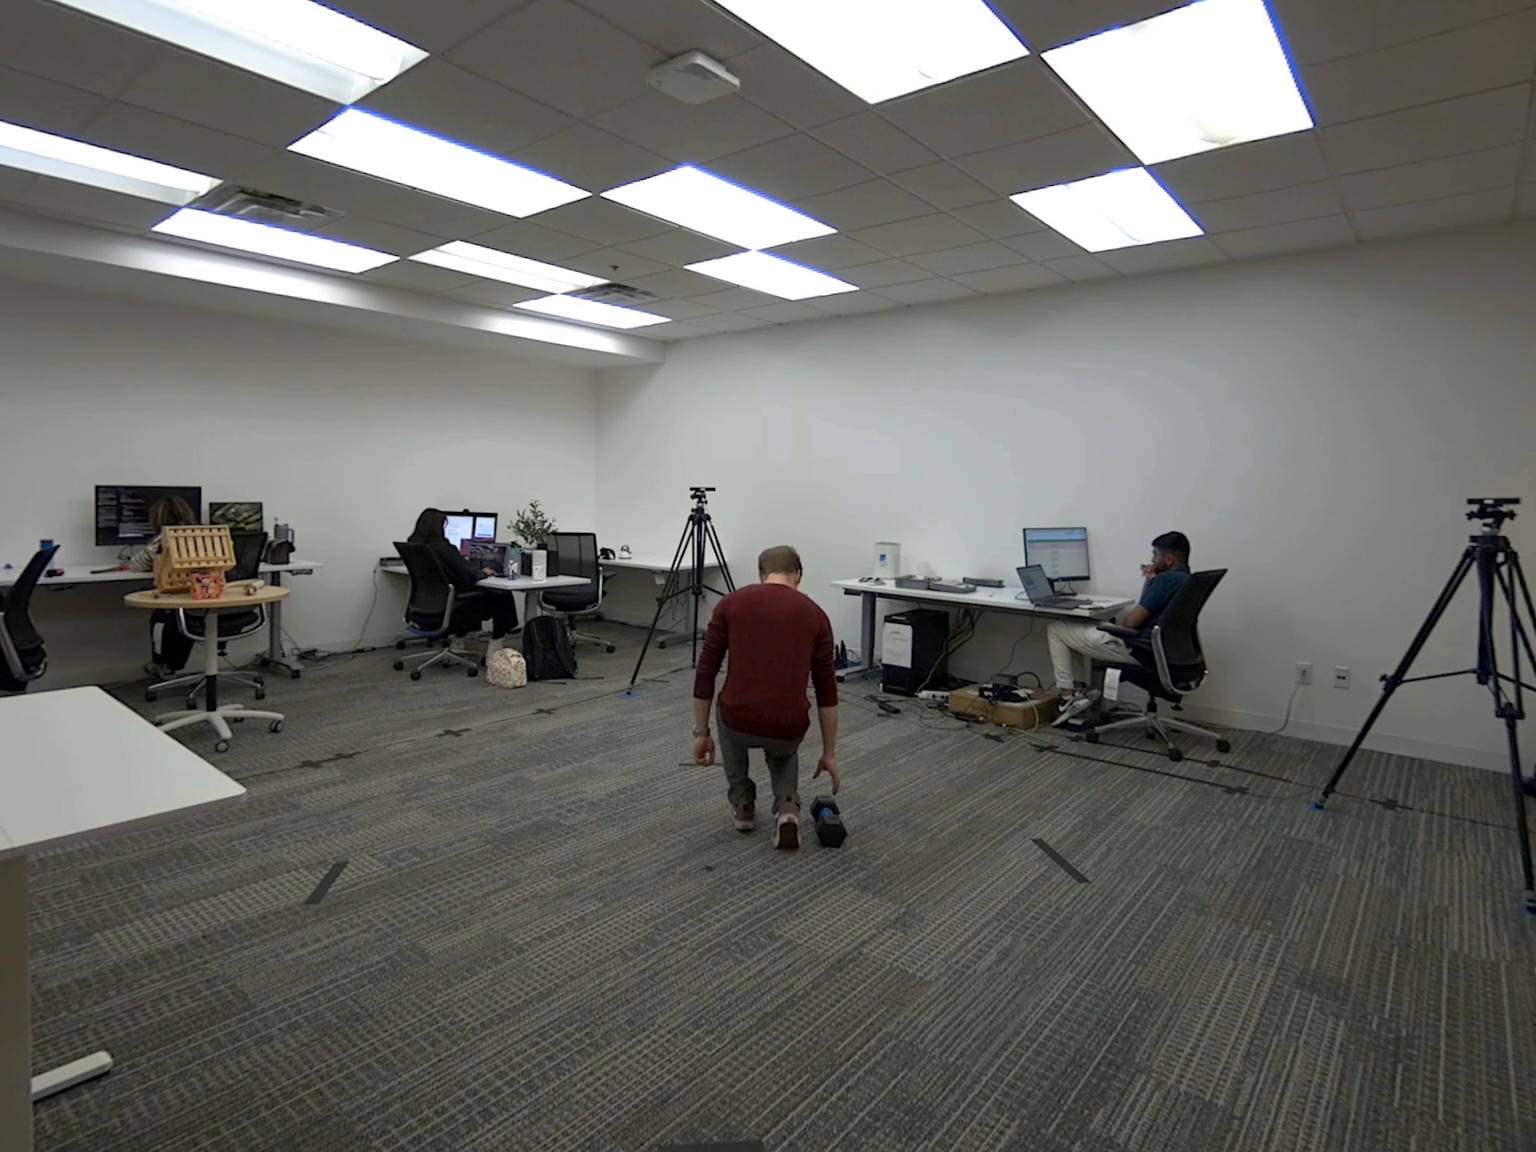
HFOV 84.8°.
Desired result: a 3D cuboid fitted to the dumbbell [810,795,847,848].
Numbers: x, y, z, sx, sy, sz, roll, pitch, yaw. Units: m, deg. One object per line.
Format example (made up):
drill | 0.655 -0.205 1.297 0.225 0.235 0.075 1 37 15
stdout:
dumbbell | 0.232 0.992 3.451 0.109 0.122 0.295 -29 7 0
